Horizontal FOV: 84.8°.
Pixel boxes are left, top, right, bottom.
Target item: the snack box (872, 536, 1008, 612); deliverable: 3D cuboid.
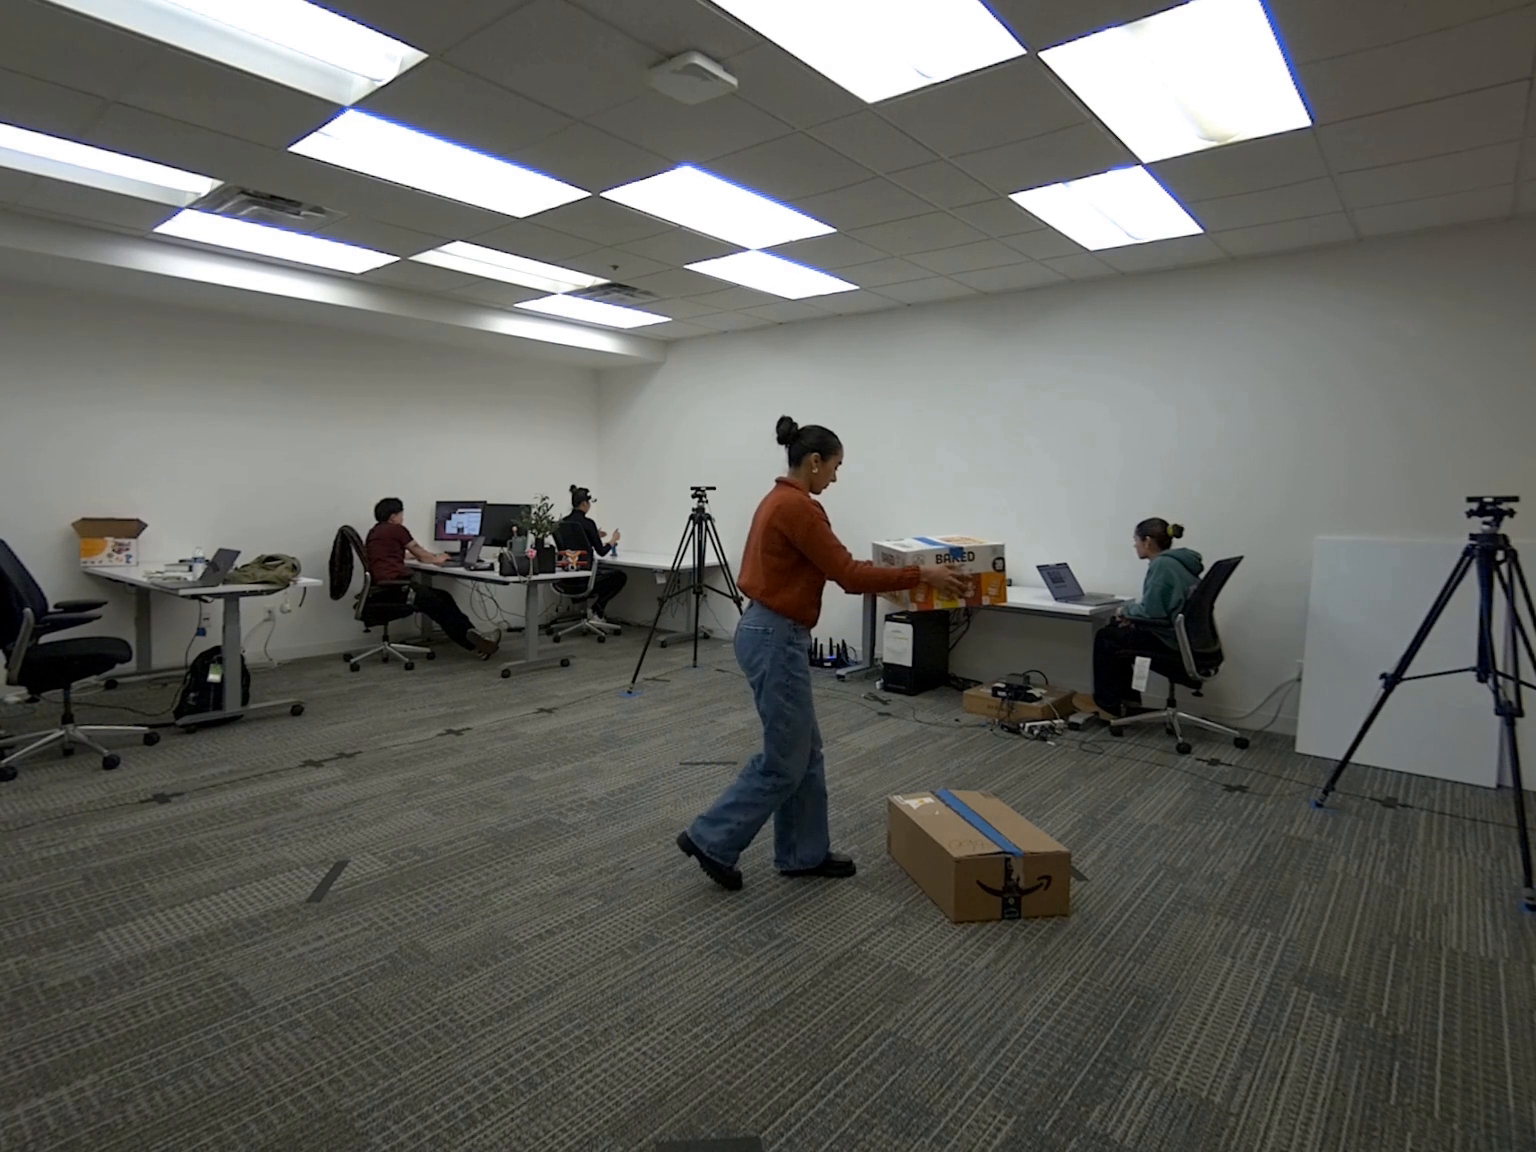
[{"bbox_3d":[0.579,-0.009,3.014,0.338,0.204,0.410,-5,7,-7],"label":"snack box"}]
